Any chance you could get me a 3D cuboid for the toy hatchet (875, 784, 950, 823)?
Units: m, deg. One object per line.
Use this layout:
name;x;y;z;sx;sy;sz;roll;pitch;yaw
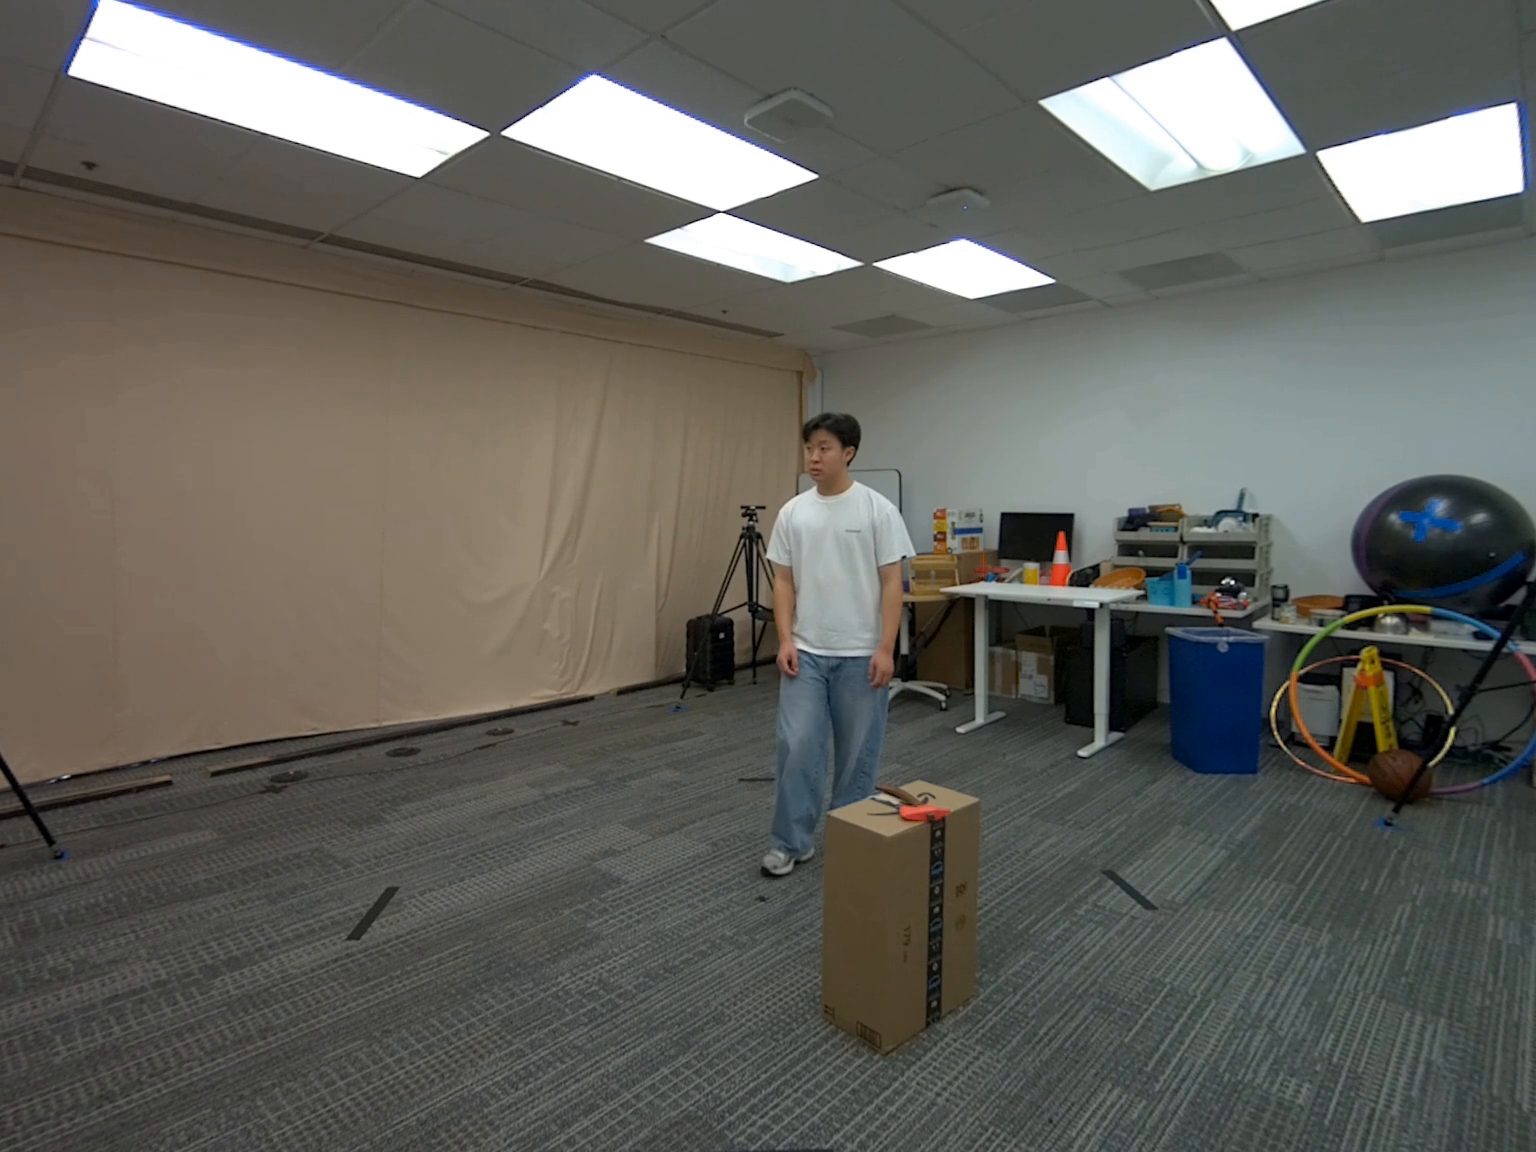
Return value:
toy hatchet;0.360;0.619;2.319;0.127;0.029;0.278;-7;7;-32
